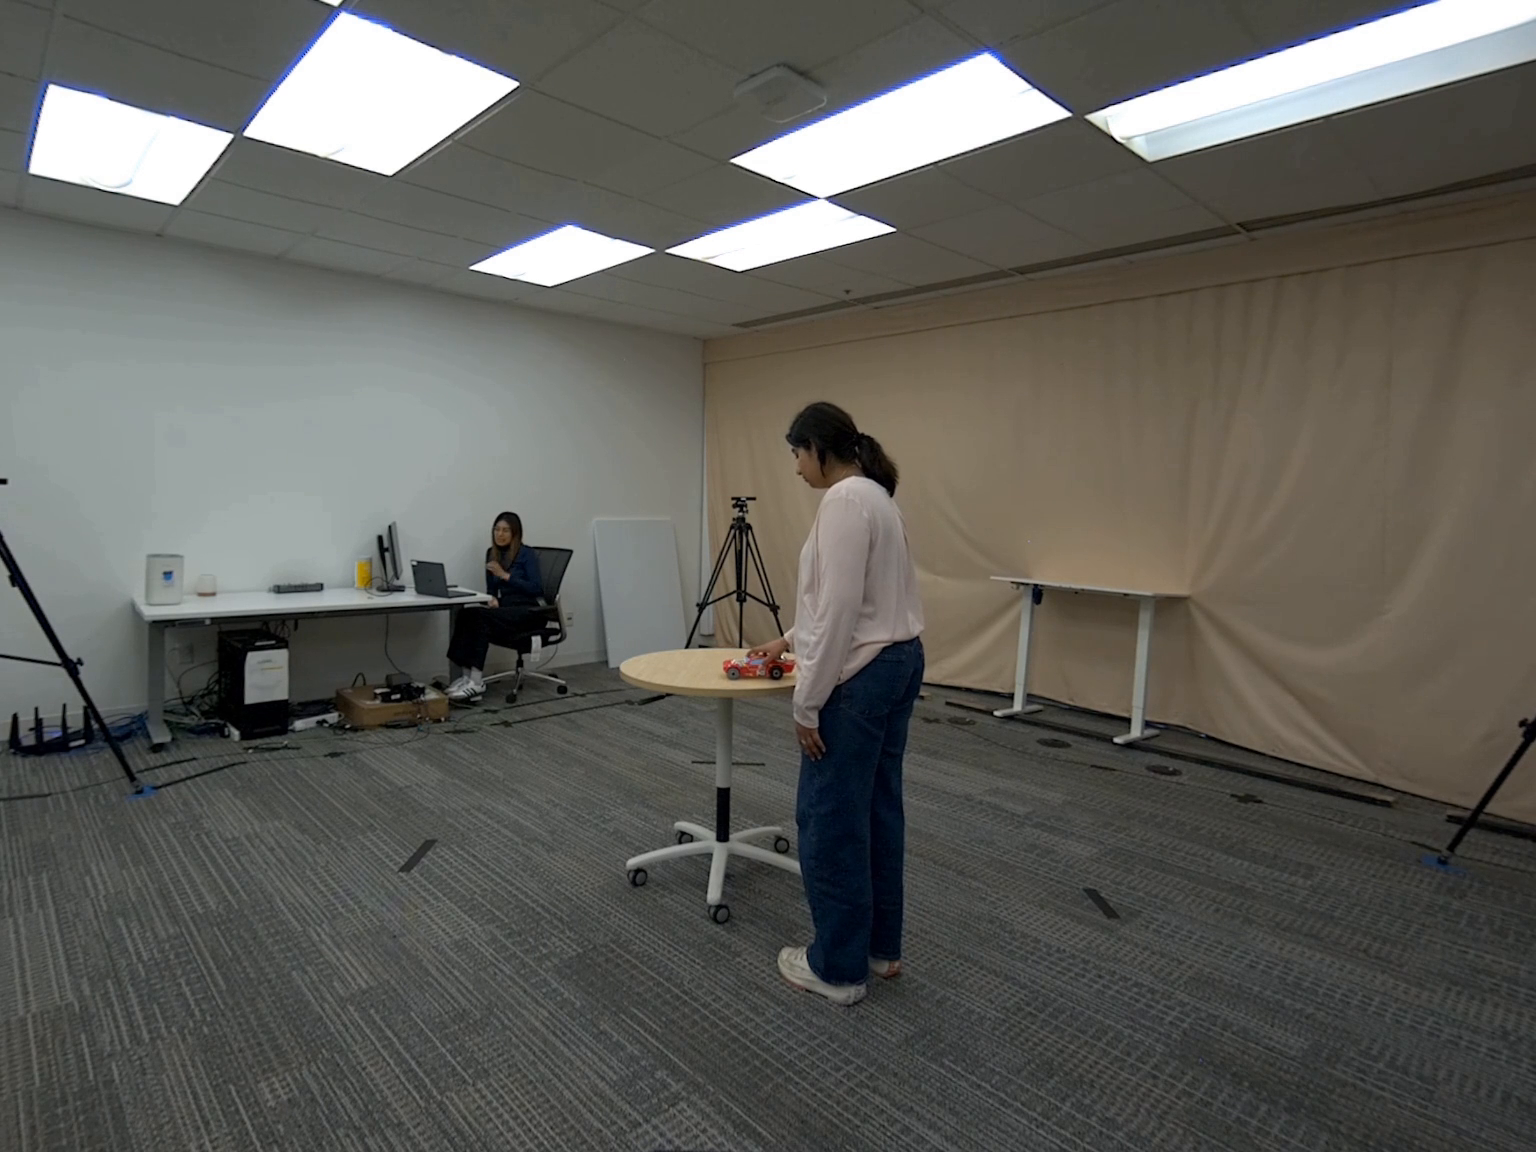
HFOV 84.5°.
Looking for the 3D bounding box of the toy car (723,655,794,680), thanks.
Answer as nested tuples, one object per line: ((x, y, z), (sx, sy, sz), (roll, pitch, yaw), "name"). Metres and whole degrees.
((-0.031, 0.313, 2.869), (0.254, 0.083, 0.131), (-10, 7, -1), "toy car")
